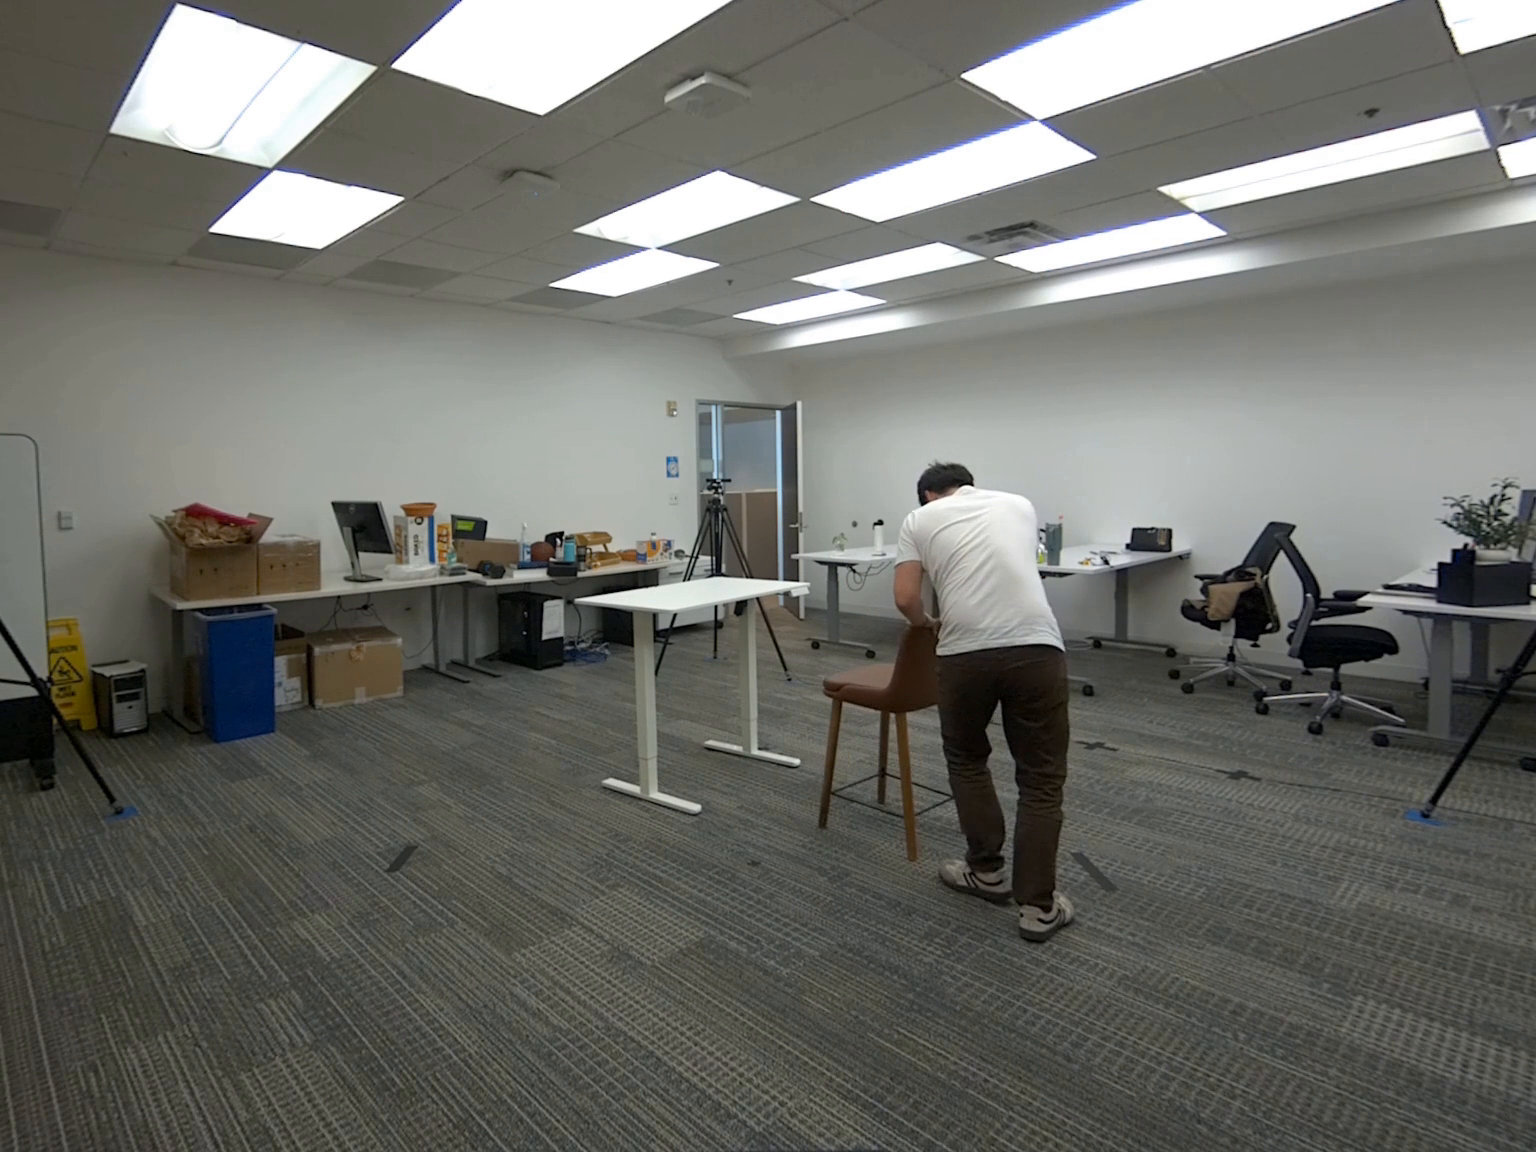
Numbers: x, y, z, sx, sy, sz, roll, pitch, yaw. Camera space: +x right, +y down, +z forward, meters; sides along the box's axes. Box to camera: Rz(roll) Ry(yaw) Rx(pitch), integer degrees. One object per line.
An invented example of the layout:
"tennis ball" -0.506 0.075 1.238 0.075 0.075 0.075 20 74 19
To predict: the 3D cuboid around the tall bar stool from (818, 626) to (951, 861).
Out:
"tall bar stool" 0.502 0.568 3.350 0.444 0.885 0.482 -4 7 -42
